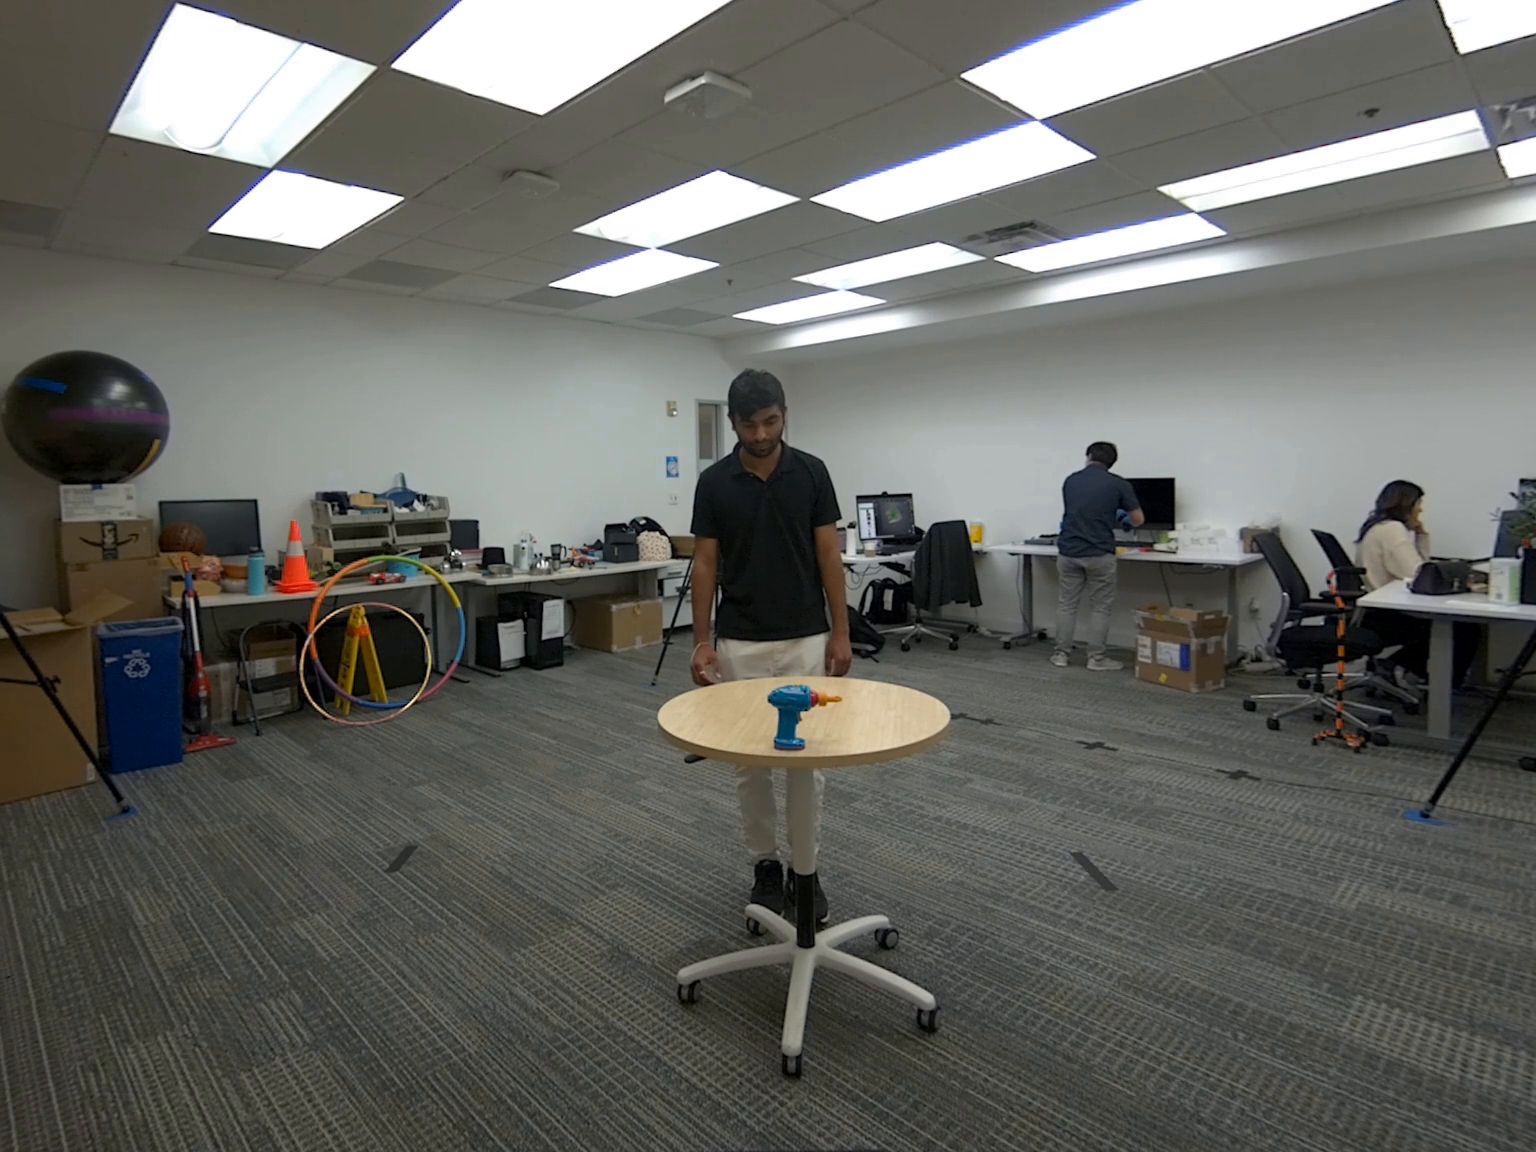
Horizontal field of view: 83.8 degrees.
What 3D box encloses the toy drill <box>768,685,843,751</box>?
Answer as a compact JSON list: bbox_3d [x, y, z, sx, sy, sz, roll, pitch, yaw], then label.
[{"bbox_3d":[0.089,0.322,1.948,0.170,0.146,0.061,-1,3,4],"label":"toy drill"}]
